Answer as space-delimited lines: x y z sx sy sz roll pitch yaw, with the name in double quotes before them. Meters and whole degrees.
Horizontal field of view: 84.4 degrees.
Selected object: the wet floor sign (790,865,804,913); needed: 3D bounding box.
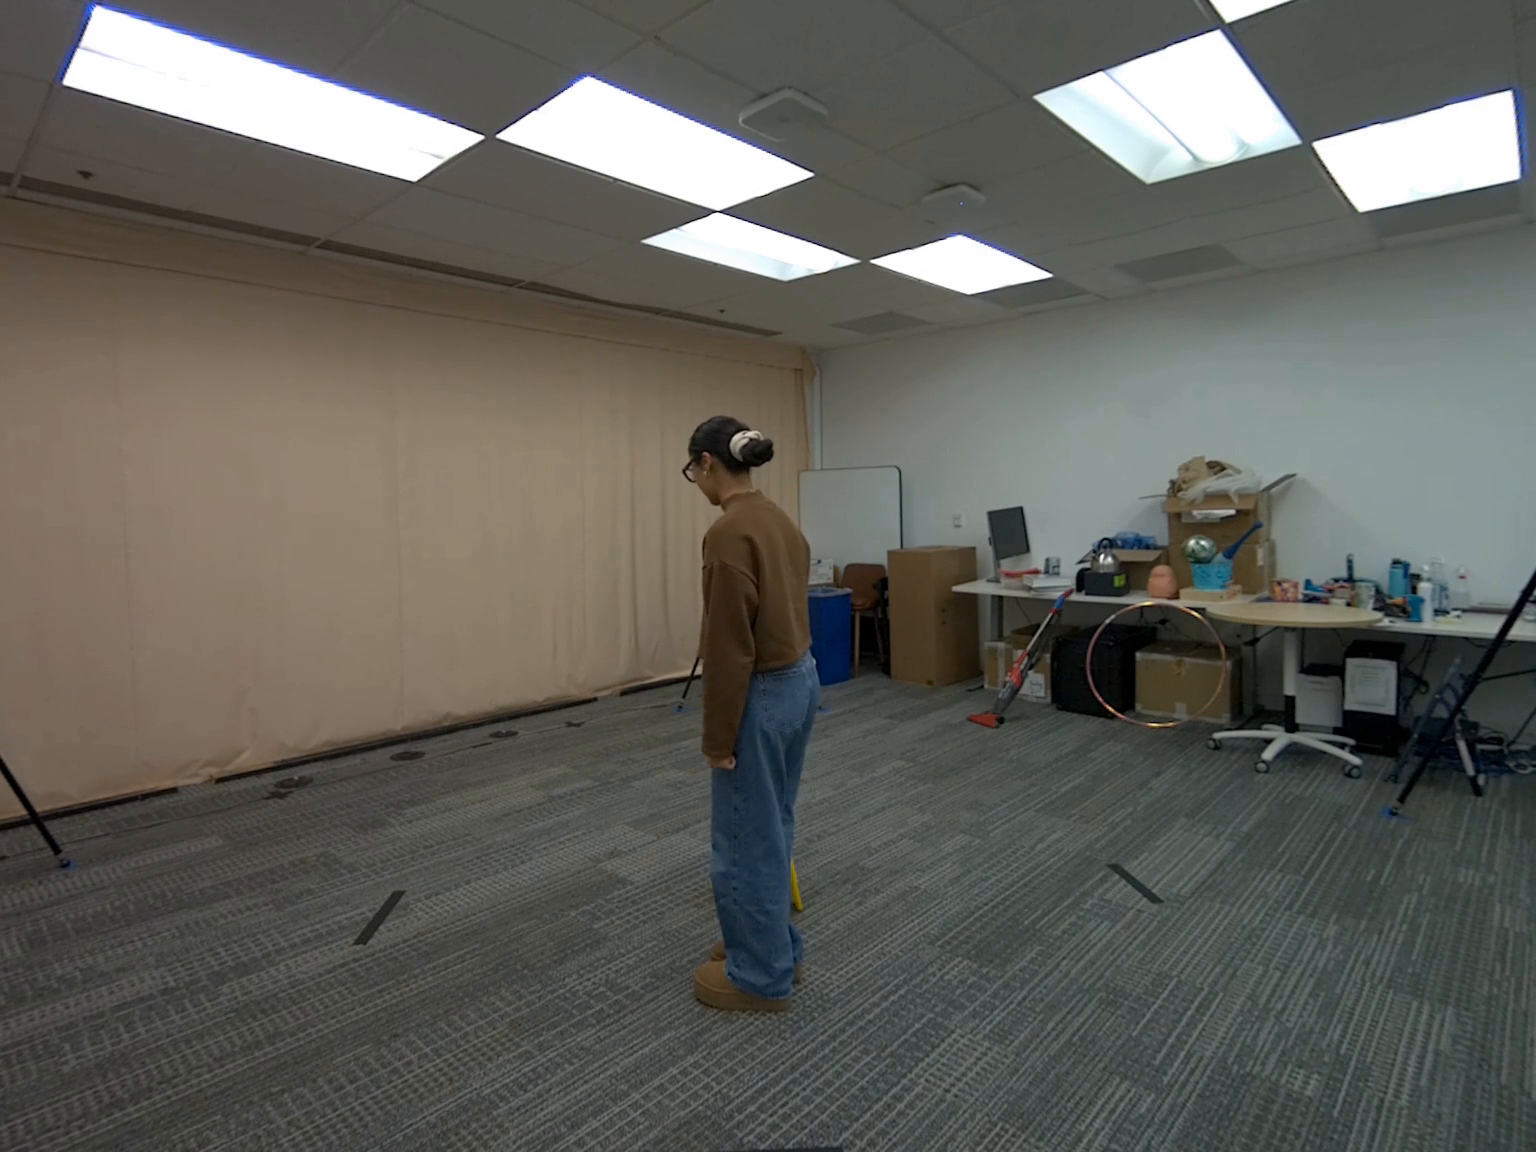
"wet floor sign" -0.049 0.816 2.970 0.286 0.645 0.286 -2 2 -12
